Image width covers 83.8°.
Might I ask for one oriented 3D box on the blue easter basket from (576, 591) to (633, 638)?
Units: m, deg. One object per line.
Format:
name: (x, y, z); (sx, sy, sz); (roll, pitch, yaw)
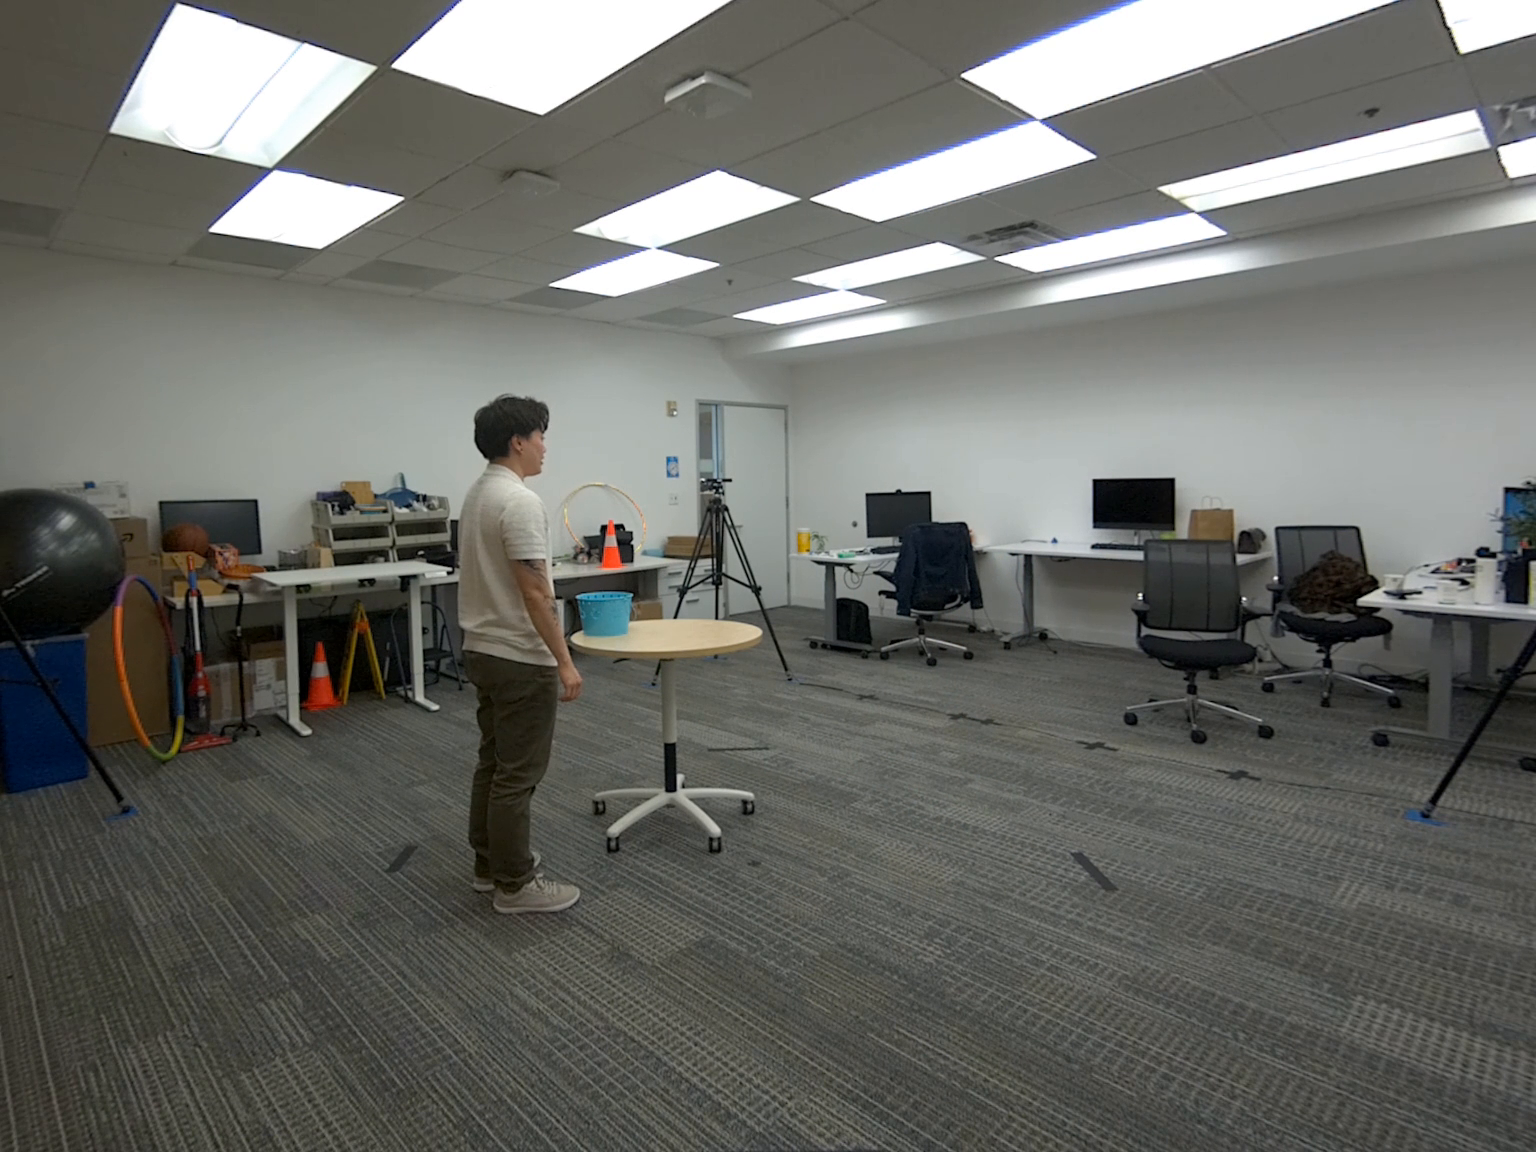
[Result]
blue easter basket: (-0.663, 0.157, 3.483); (0.243, 0.155, 0.245); (-2, 6, -1)
